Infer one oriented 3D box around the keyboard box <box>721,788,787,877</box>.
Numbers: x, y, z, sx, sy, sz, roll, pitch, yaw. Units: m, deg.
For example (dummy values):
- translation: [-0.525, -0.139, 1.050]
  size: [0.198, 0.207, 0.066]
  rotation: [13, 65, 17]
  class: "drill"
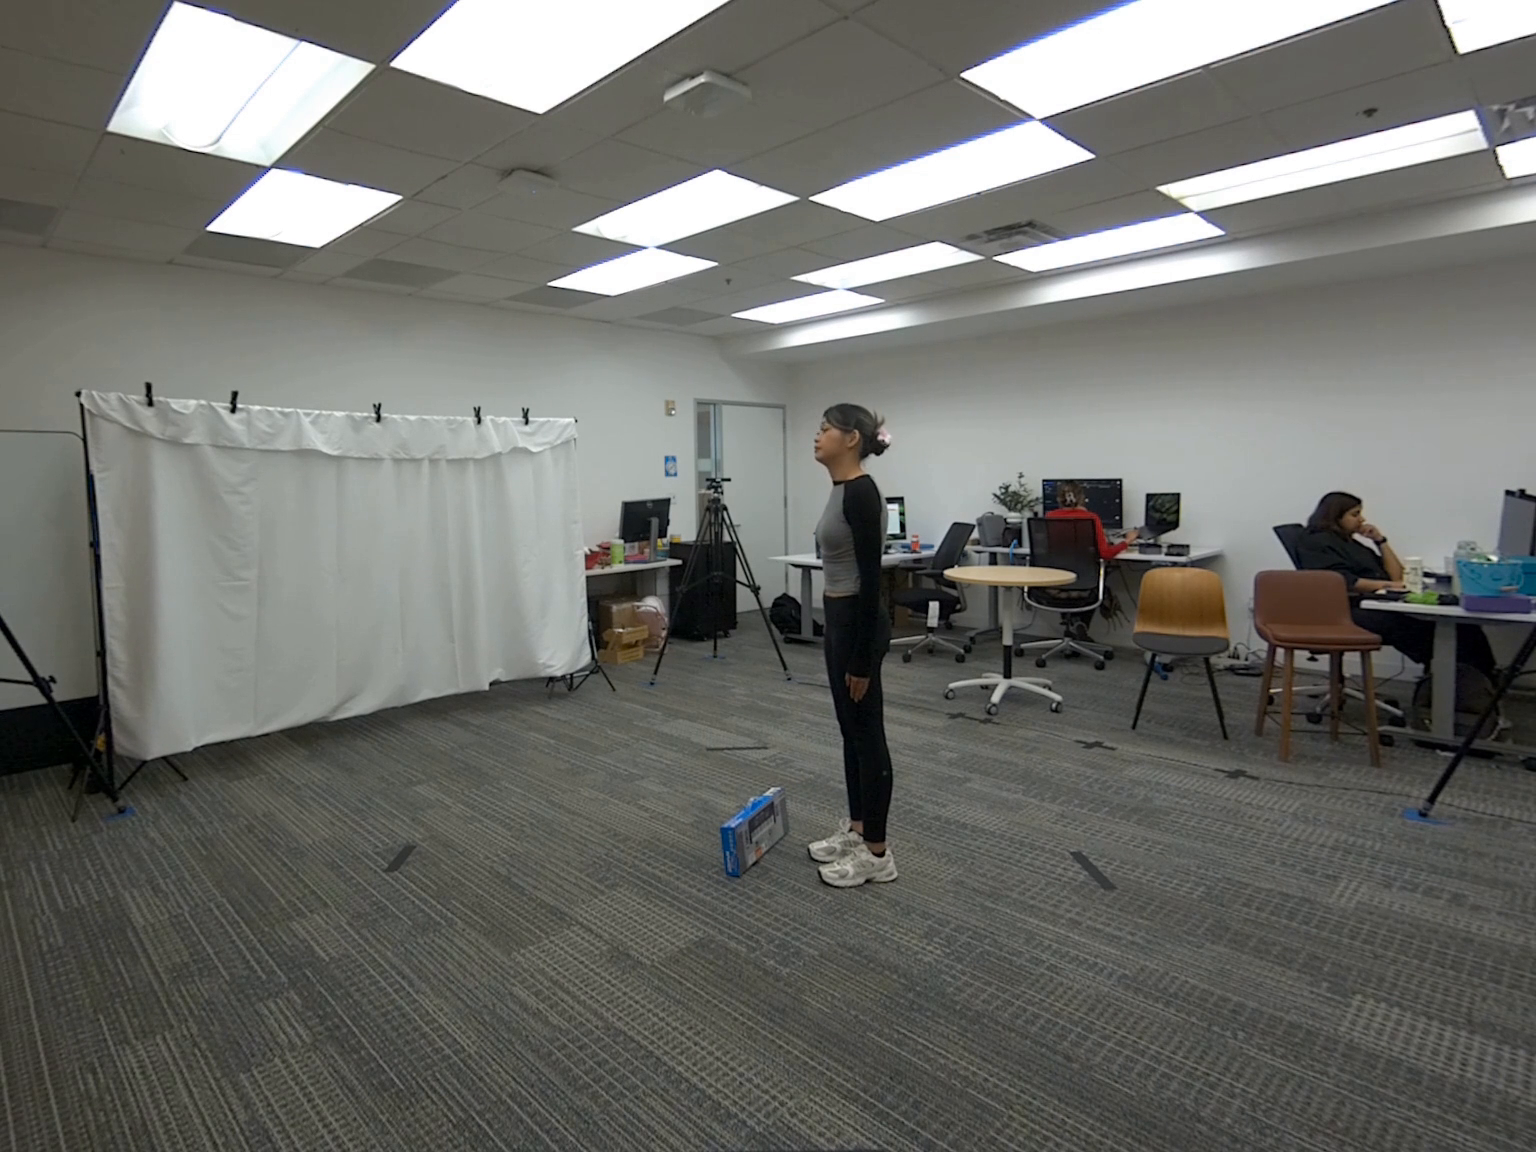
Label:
- translation: [-0.041, 0.946, 3.190]
  size: [0.060, 0.176, 0.428]
  rotation: [-6, 3, 25]
  class: "keyboard box"
